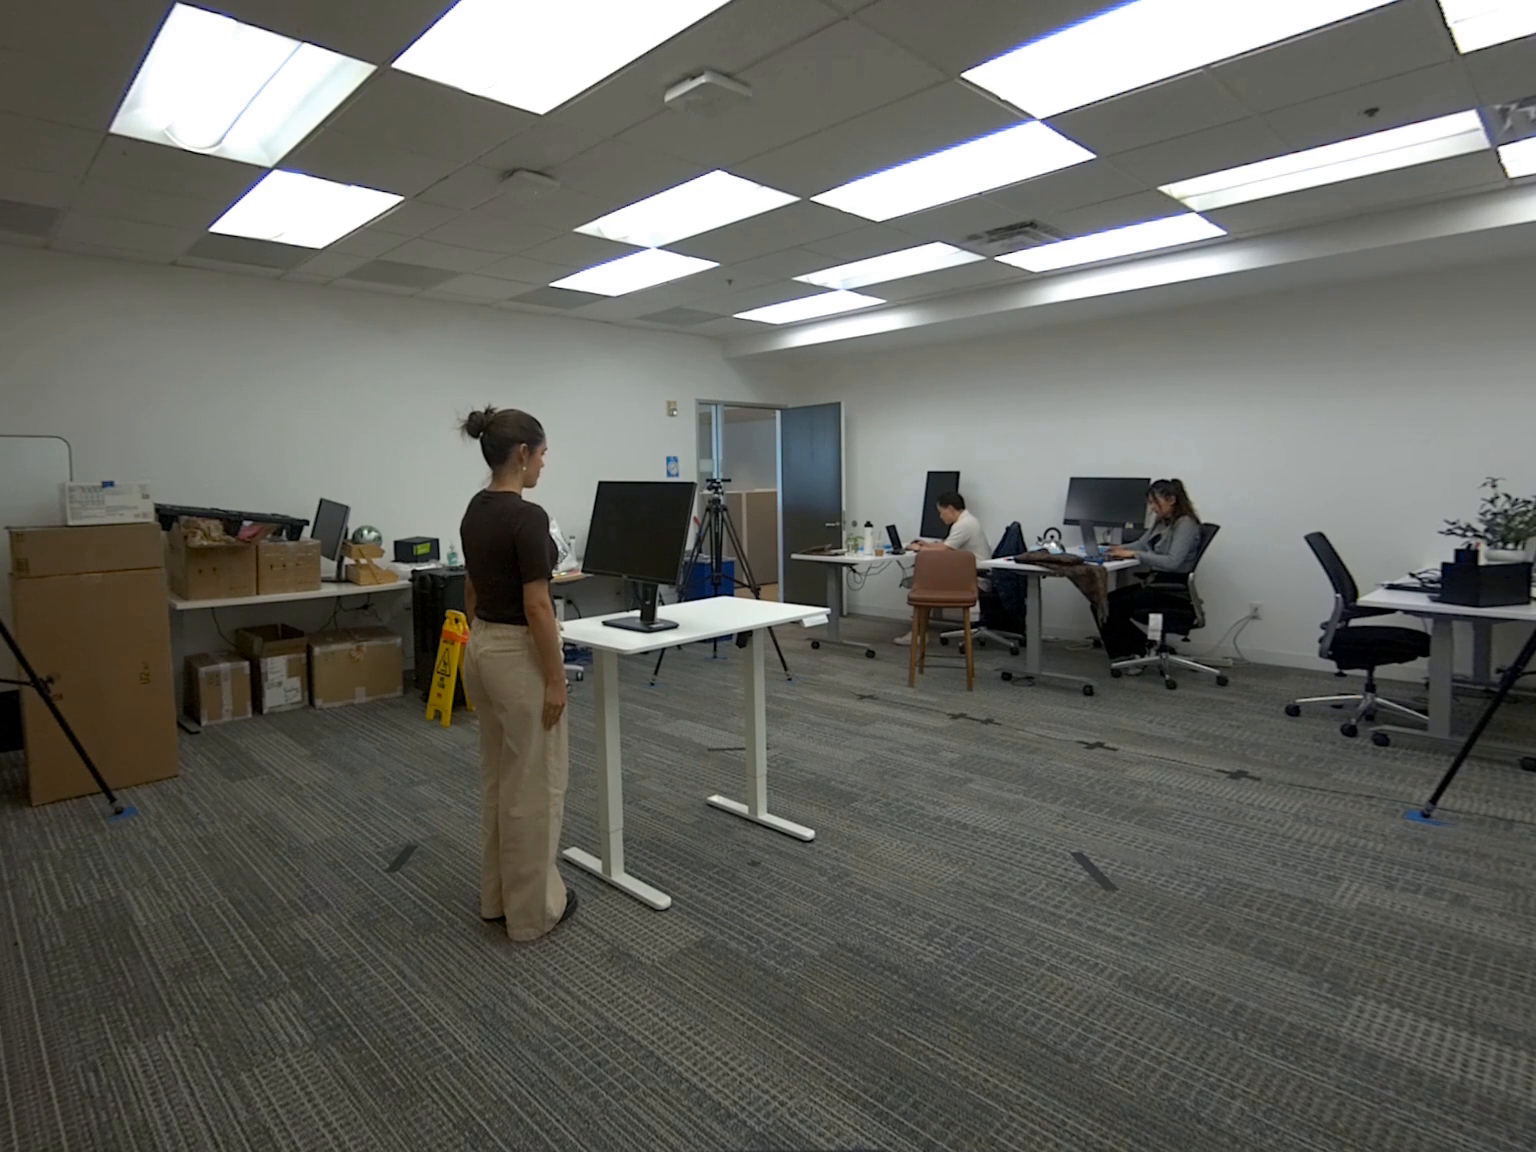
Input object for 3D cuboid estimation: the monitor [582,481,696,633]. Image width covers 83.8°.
[{"bbox_3d":[-0.446,-0.073,3.031,0.556,0.521,0.182,4,4,42],"label":"monitor"}]
